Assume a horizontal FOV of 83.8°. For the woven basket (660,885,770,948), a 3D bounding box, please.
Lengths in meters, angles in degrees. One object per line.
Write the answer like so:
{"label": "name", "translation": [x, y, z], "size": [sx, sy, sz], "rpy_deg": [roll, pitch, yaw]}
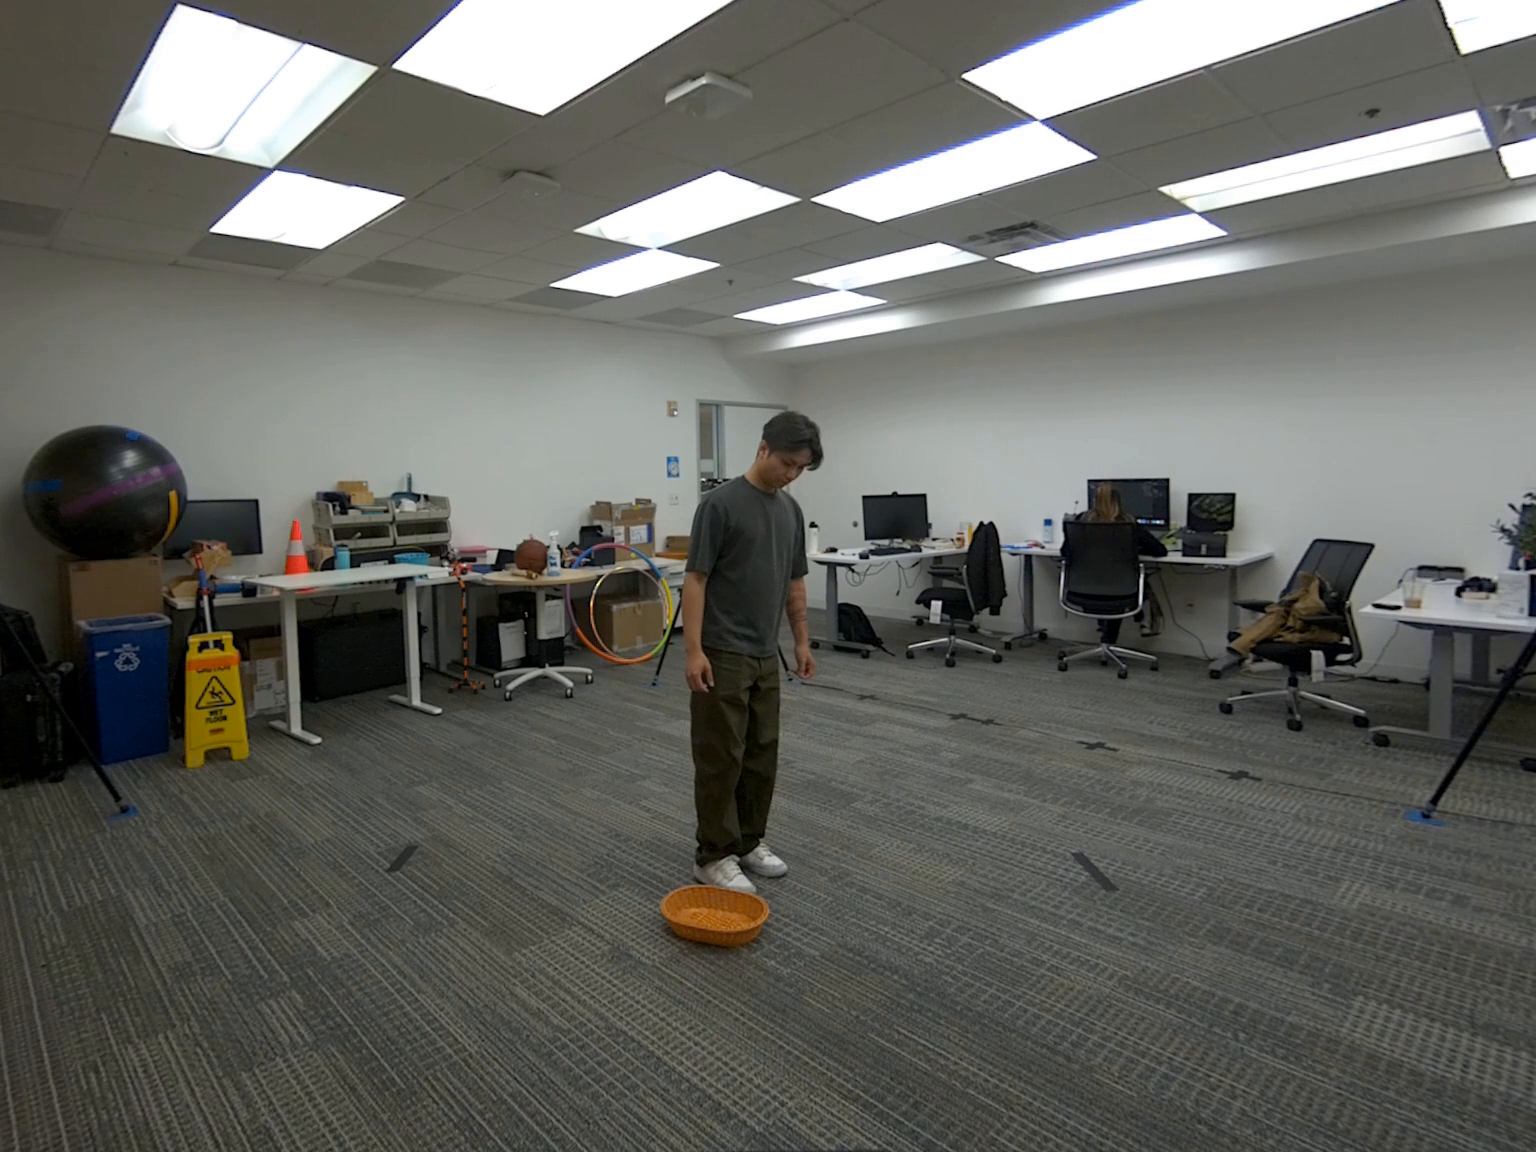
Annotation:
{"label": "woven basket", "translation": [-0.165, 1.063, 2.662], "size": [0.359, 0.073, 0.248], "rpy_deg": [2, 7, 26]}
